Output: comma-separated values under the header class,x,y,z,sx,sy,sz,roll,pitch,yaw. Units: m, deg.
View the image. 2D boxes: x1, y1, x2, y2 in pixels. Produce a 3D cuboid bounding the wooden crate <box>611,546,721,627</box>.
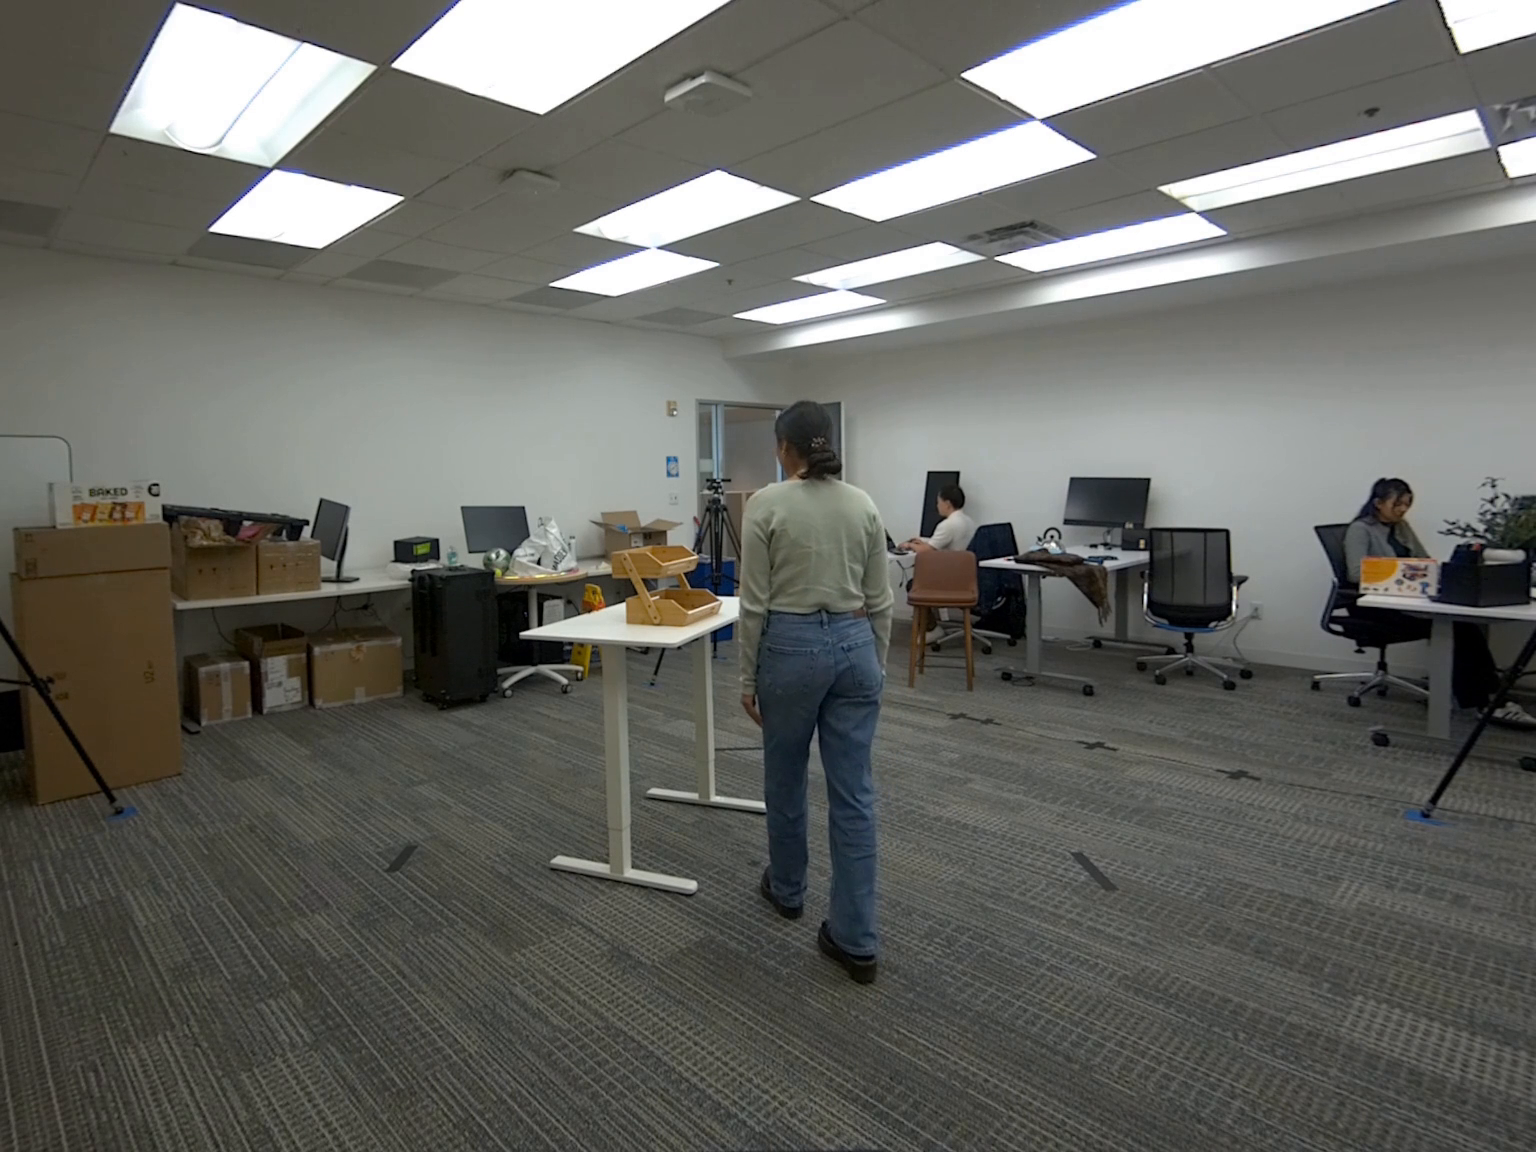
class,x,y,z,sx,sy,sz,roll,pitch,yaw
wooden crate,-0.364,0.027,3.184,0.308,0.272,0.319,-1,5,22
